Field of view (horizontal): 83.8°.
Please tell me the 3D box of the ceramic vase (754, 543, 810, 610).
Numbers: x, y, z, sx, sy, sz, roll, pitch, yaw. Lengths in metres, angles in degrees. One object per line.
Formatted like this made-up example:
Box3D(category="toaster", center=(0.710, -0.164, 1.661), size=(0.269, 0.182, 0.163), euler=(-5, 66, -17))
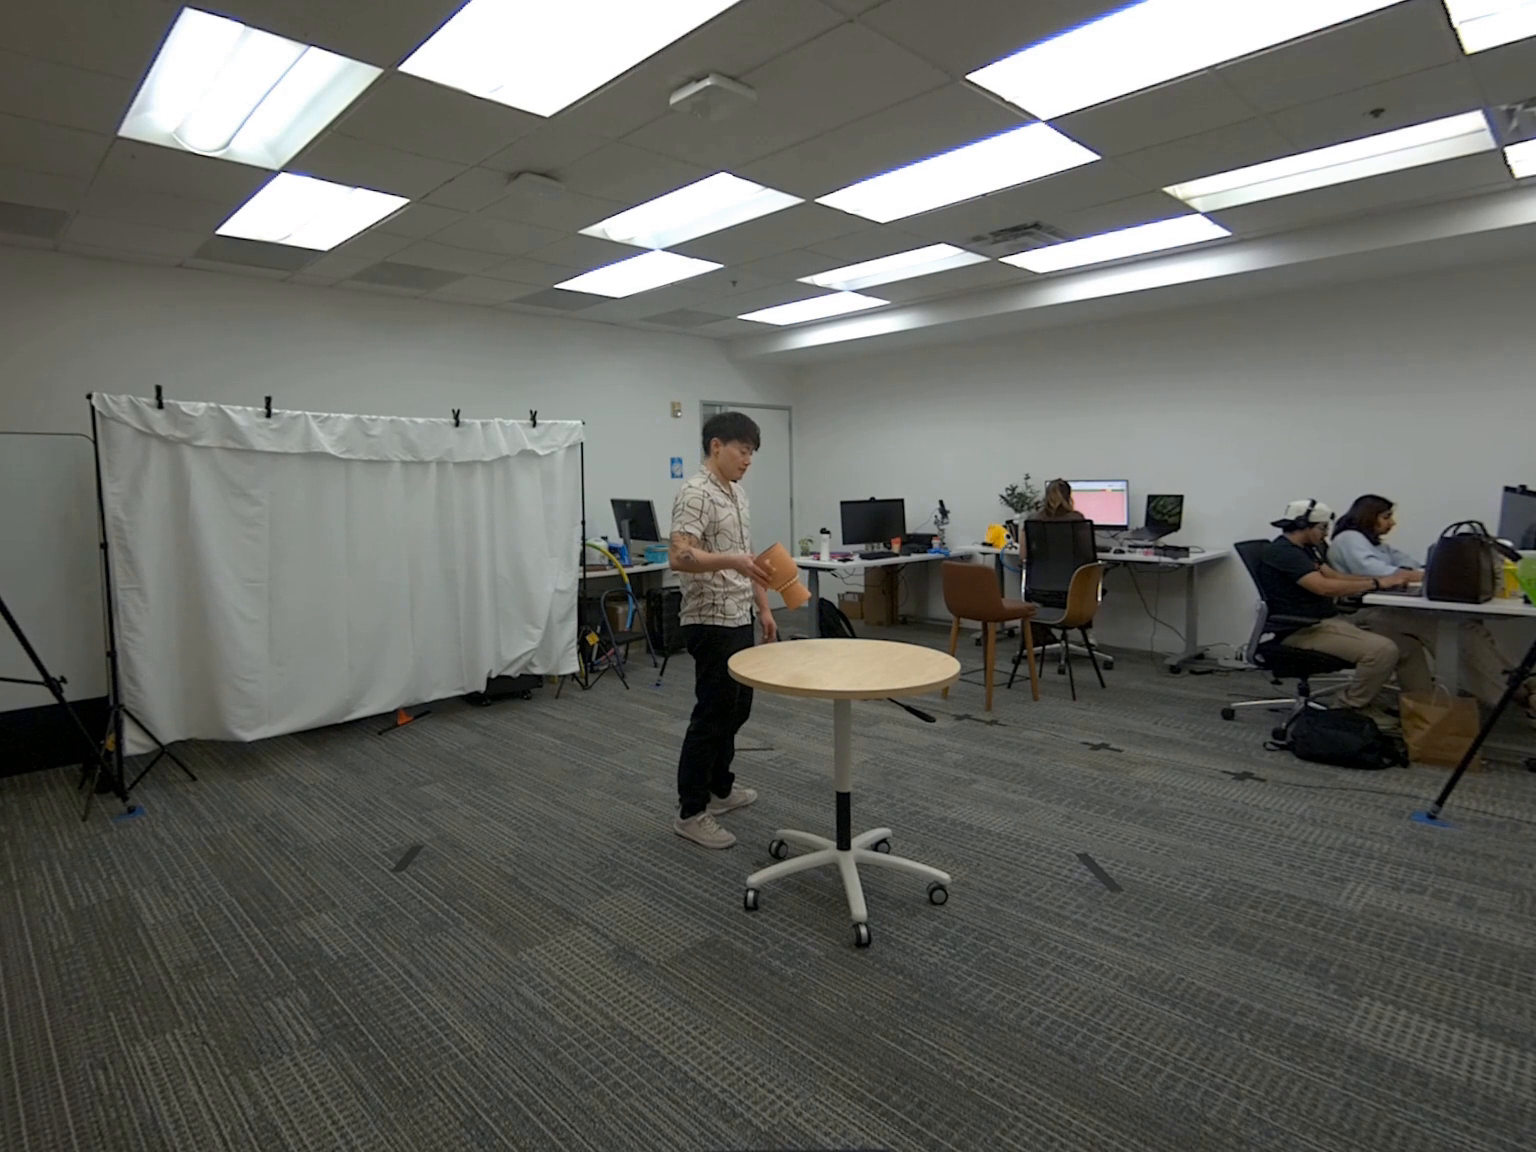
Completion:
Box3D(category="ceramic vase", center=(0.054, 0.007, 3.025), size=(0.157, 0.220, 0.135), euler=(-34, -1, -39))
